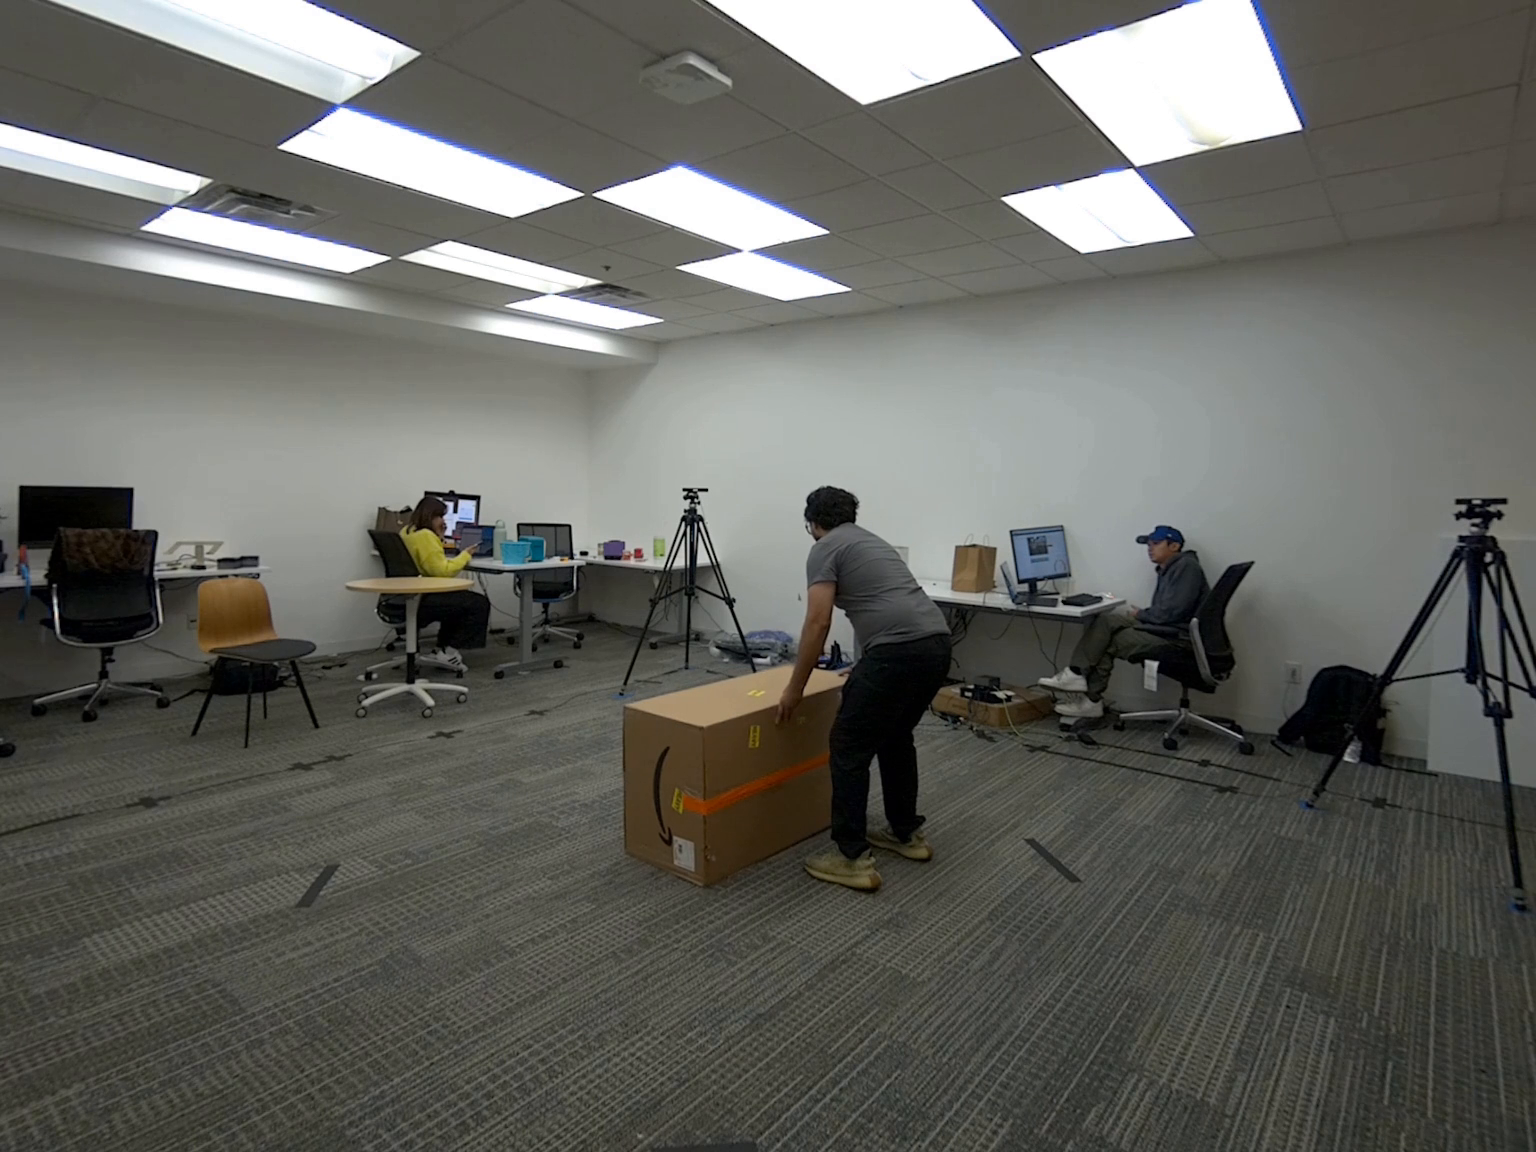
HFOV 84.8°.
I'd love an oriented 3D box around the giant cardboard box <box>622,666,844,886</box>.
[{"bbox_3d":[-0.075,0.746,3.455,0.440,0.575,0.996,4,6,41],"label":"giant cardboard box"}]
